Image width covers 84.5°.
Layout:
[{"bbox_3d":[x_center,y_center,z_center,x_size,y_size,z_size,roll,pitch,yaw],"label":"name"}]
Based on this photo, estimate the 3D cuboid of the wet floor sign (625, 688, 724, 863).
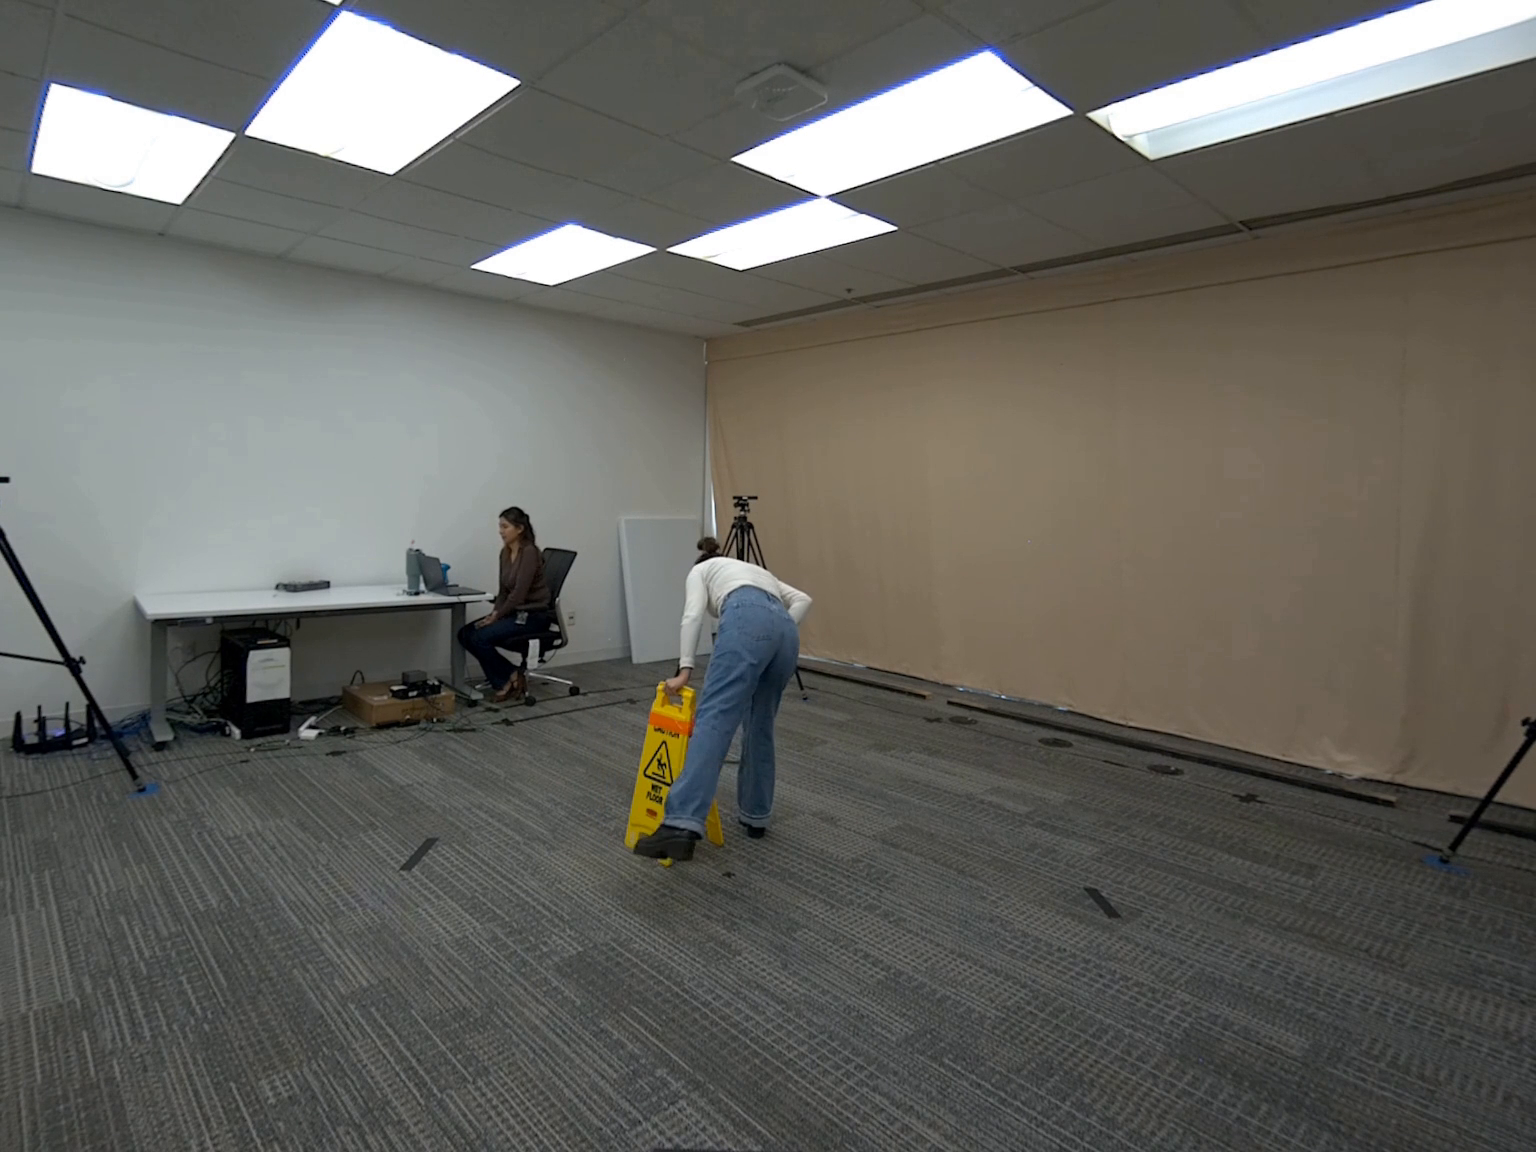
[{"bbox_3d":[-0.376,0.754,3.347,0.289,0.645,0.283,5,4,42],"label":"wet floor sign"}]
